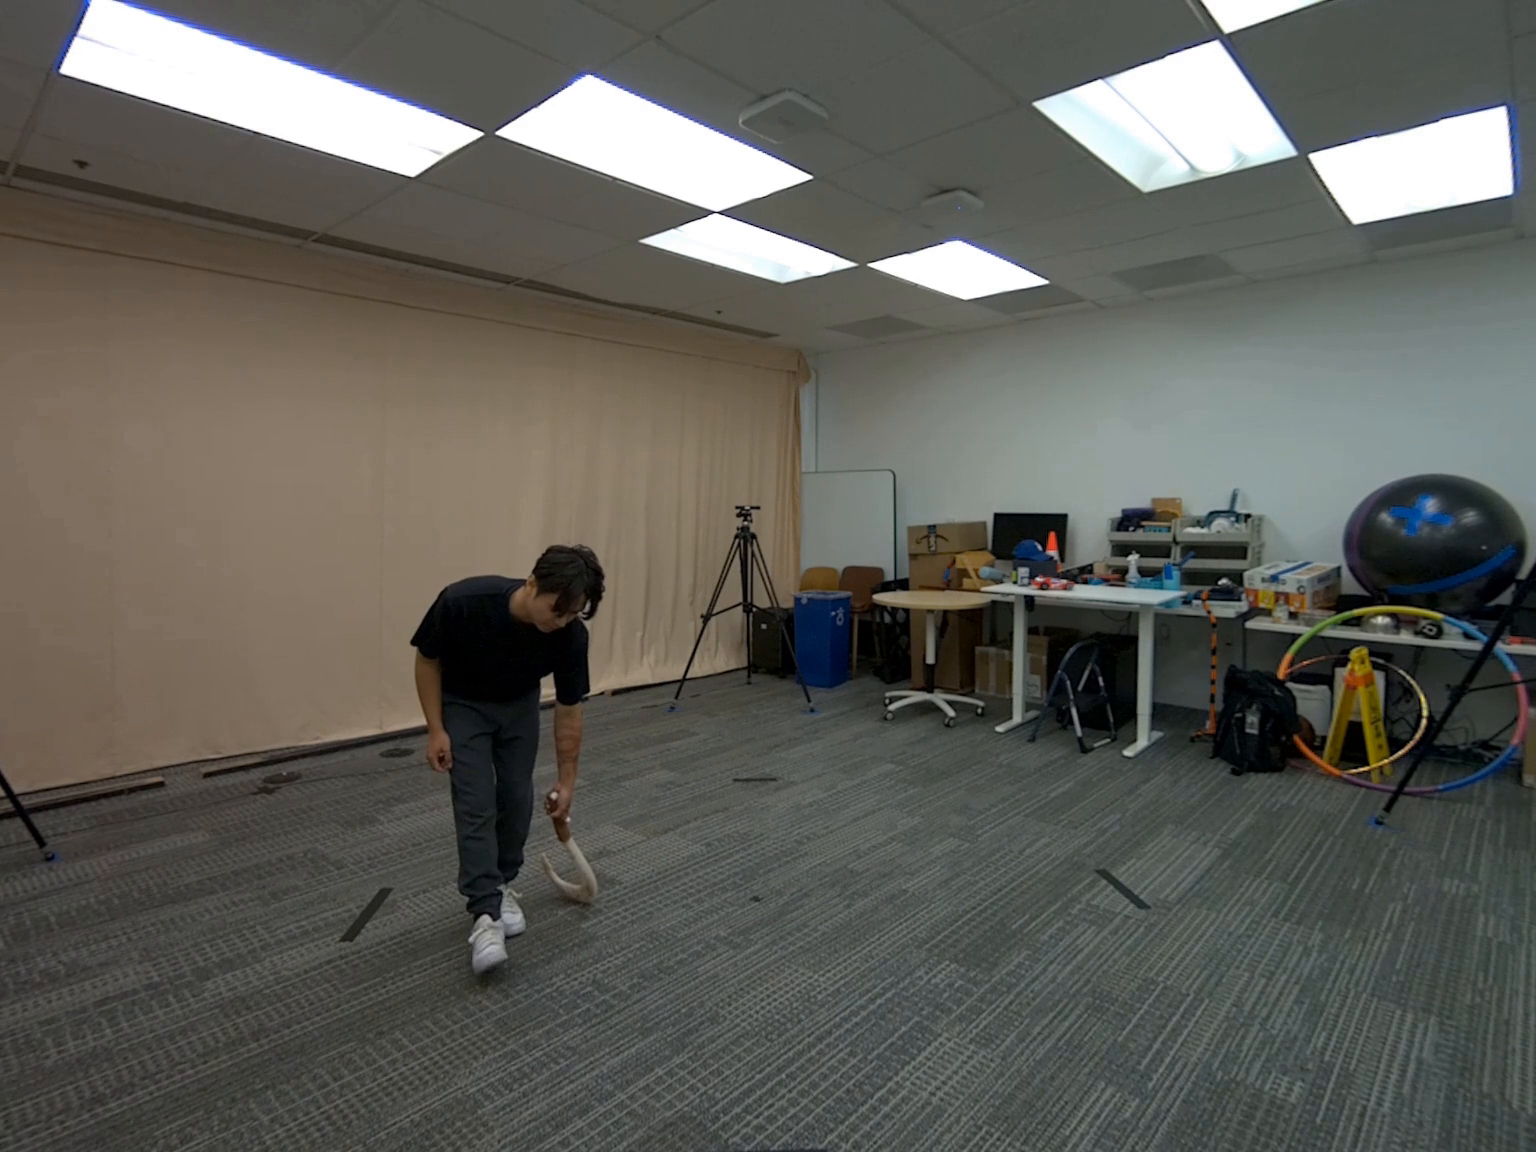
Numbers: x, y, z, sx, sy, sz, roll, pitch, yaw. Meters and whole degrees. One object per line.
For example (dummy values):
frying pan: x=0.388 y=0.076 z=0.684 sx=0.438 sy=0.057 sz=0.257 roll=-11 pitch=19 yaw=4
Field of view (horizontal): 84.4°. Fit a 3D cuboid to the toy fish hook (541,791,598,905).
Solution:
toy fish hook: x=-0.715 y=0.936 z=2.875 sx=0.229 sy=0.497 sz=0.048 roll=2 pitch=27 yaw=21
